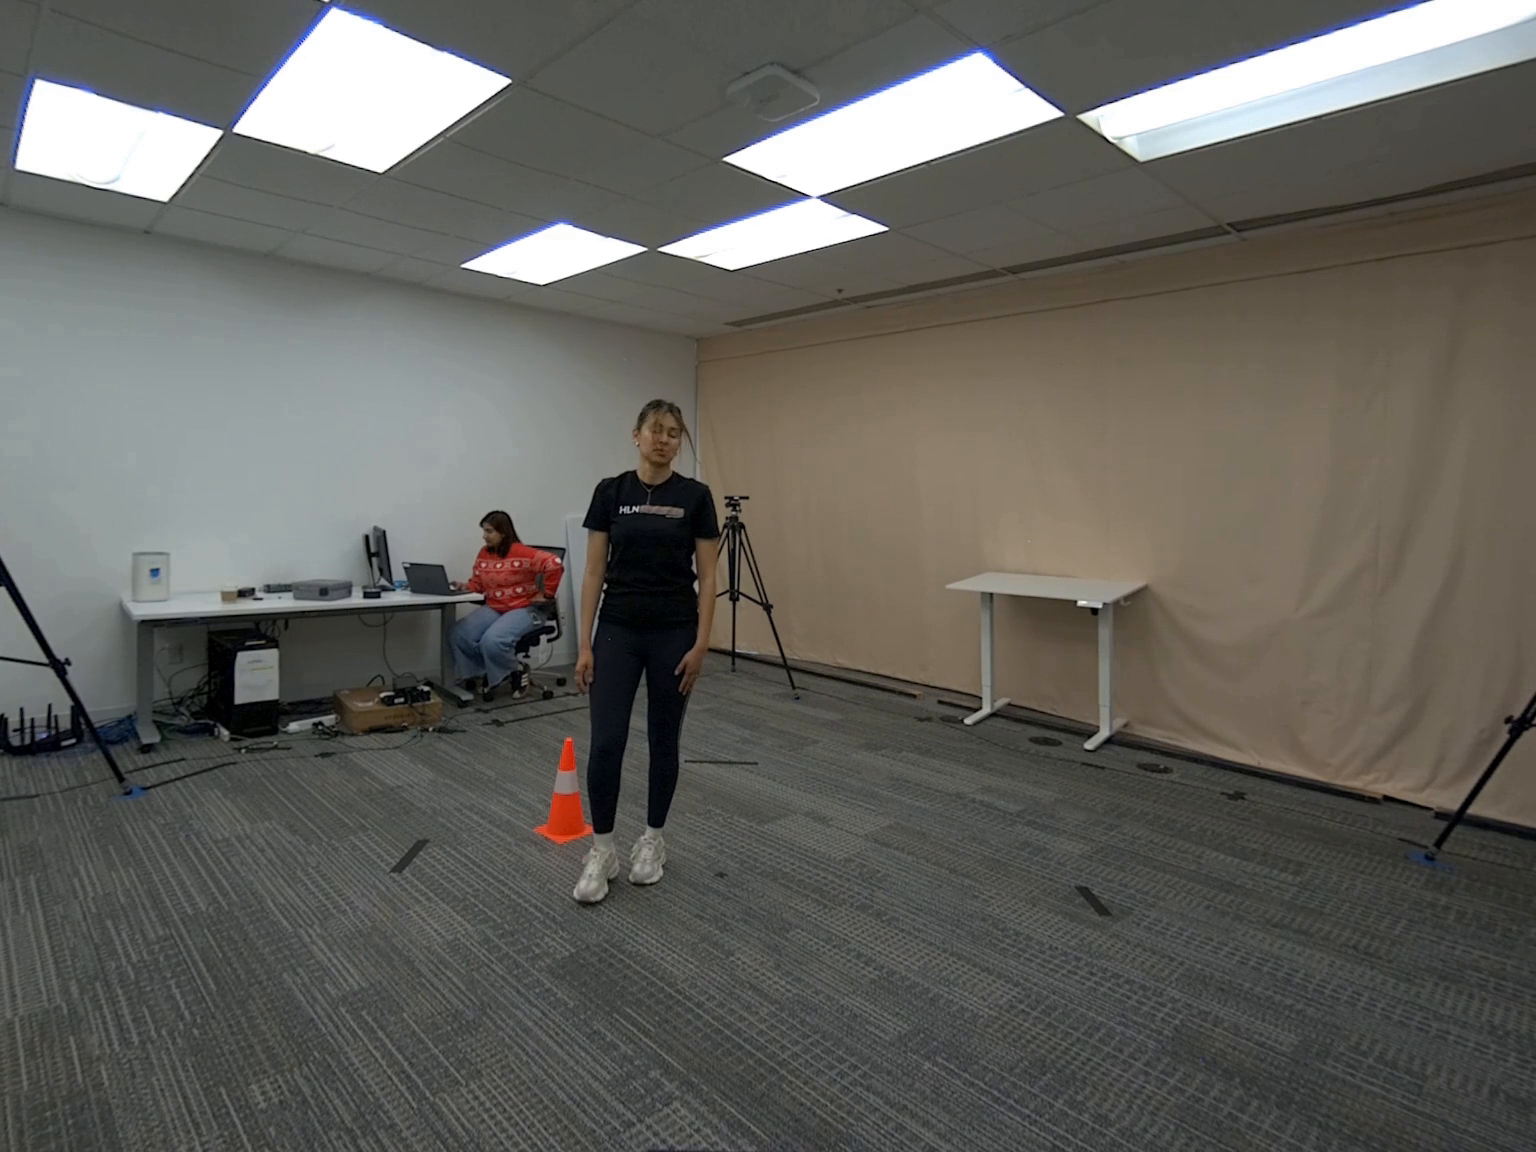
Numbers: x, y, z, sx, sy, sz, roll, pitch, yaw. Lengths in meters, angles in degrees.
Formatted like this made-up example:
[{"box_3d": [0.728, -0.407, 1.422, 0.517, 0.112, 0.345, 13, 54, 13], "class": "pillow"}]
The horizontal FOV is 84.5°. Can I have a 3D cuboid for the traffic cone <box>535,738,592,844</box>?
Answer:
[{"box_3d": [-0.838, 0.867, 3.482, 0.200, 0.383, 0.208, 0, 4, -45], "class": "traffic cone"}]
